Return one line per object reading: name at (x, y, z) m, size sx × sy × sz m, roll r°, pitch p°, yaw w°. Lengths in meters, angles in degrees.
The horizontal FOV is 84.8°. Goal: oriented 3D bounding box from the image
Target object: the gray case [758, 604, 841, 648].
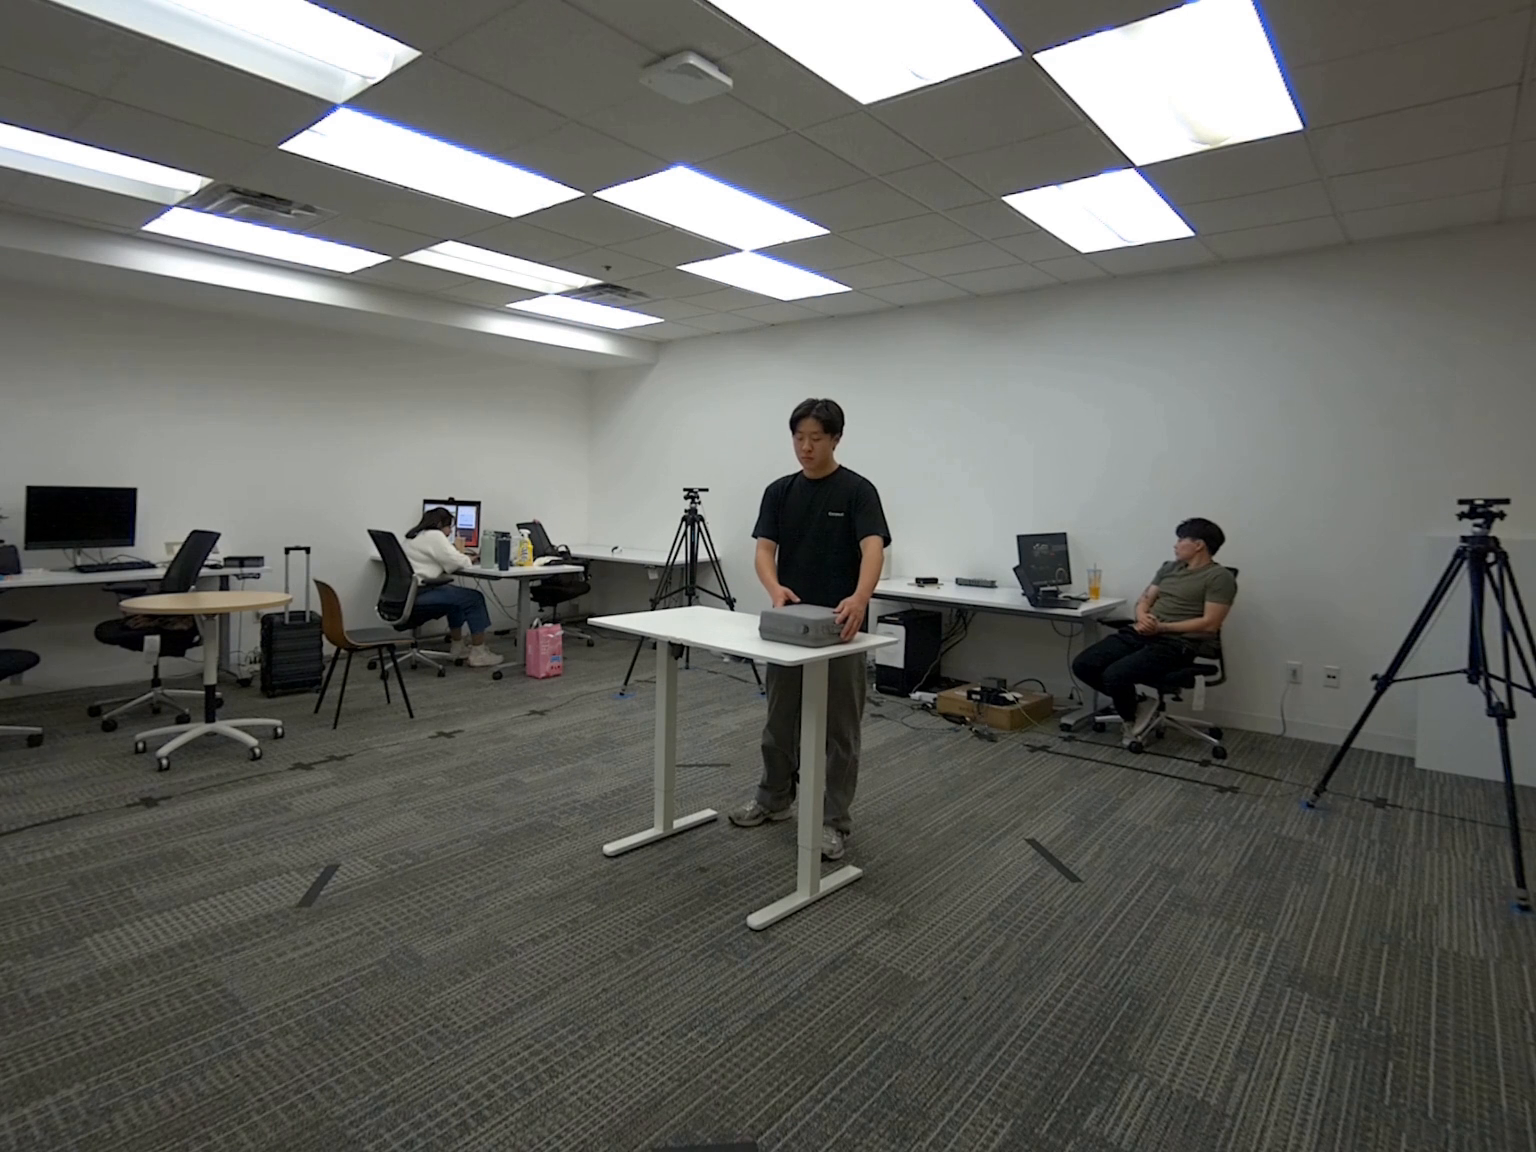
gray case at (0.132, 0.166, 2.897) m, size 0.297 × 0.102 × 0.255 m, roll 6°, pitch 8°, yaw 42°
